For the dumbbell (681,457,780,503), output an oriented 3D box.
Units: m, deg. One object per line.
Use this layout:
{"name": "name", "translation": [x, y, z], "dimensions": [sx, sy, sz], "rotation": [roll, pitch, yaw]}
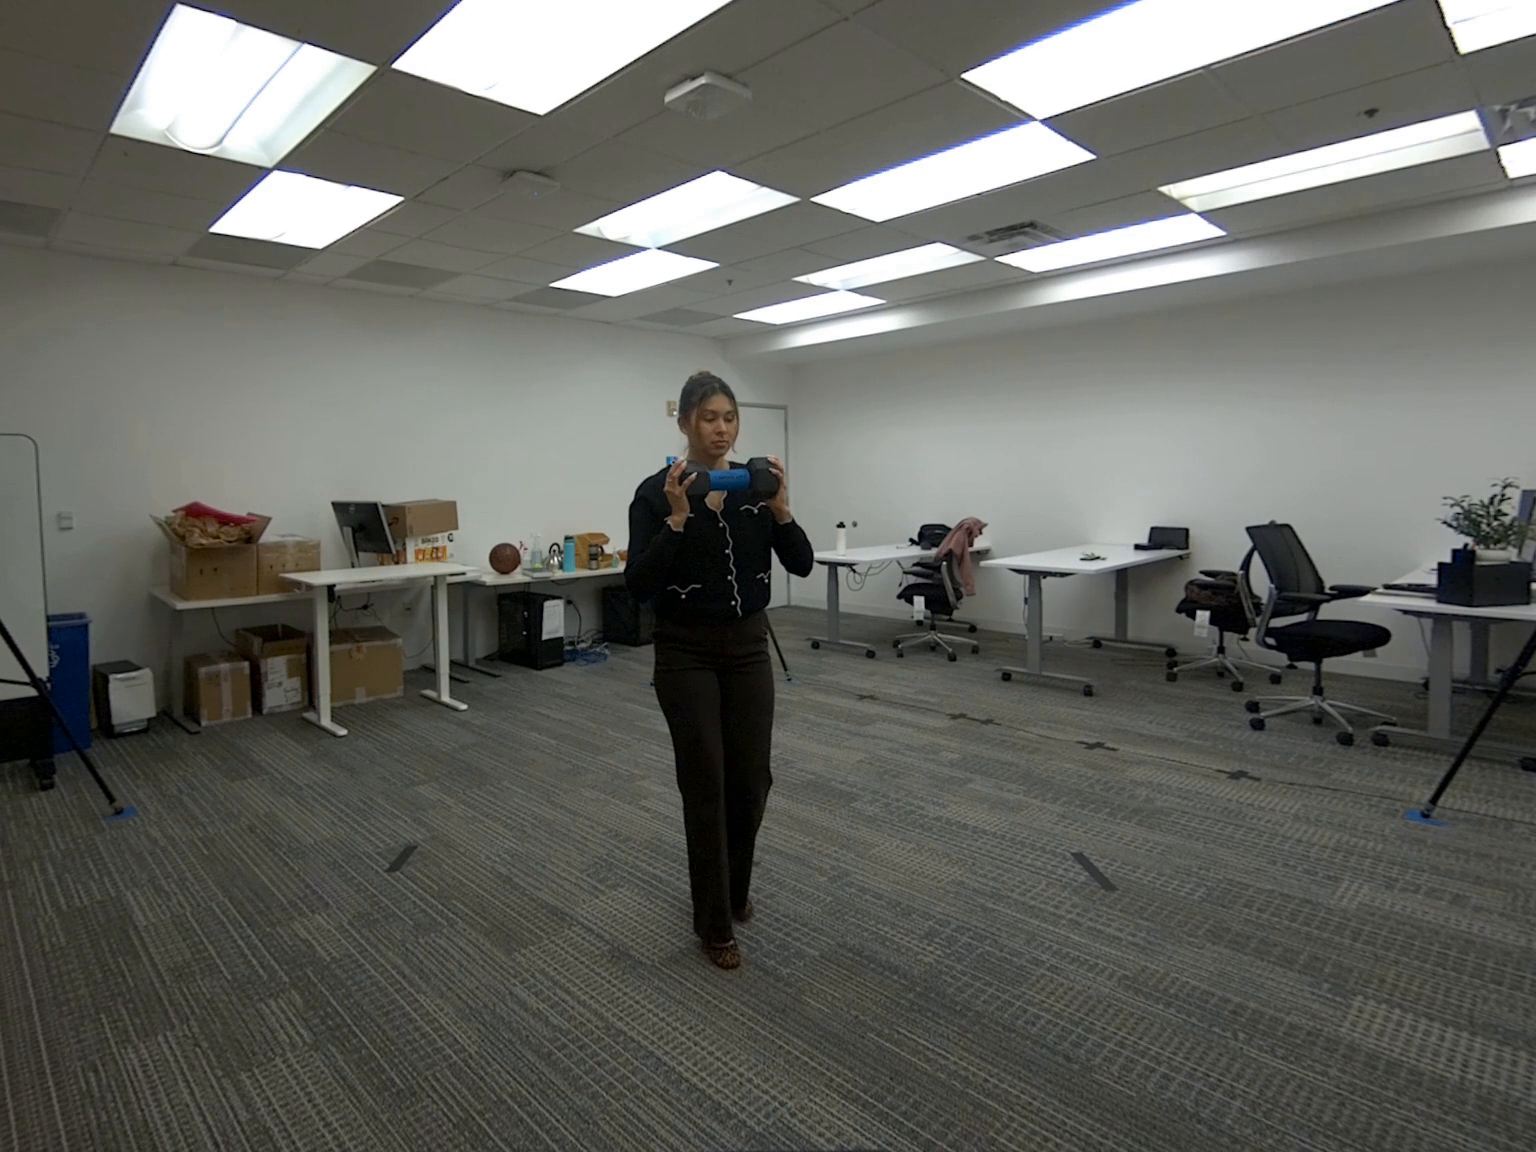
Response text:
{"name": "dumbbell", "translation": [-0.127, -0.268, 2.439], "dimensions": [0.289, 0.111, 0.122], "rotation": [-5, -21, -19]}
